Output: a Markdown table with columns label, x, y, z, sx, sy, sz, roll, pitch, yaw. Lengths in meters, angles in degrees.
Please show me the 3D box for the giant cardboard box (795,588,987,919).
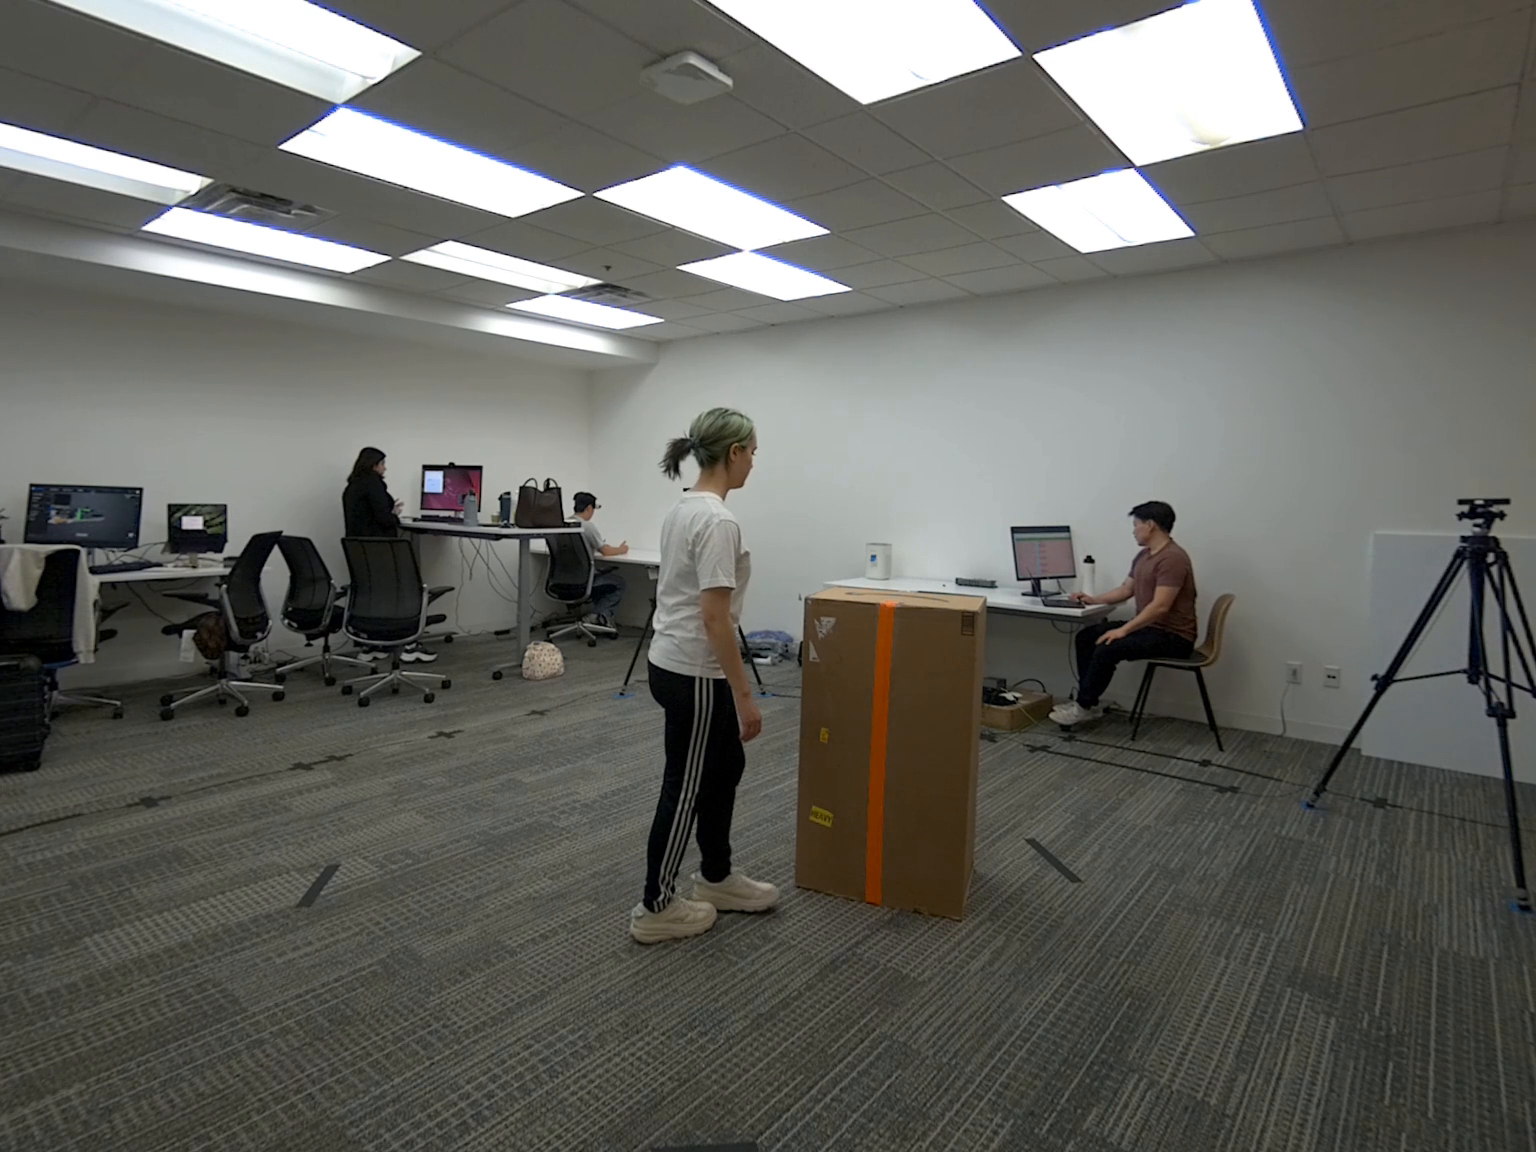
| label | x | y | z | sx | sy | sz | roll | pitch | yaw |
| --- | --- | --- | --- | --- | --- | --- | --- | --- | --- |
| giant cardboard box | 0.438 | 0.582 | 3.045 | 0.591 | 1.022 | 0.418 | 3 | 4 | 21 |
